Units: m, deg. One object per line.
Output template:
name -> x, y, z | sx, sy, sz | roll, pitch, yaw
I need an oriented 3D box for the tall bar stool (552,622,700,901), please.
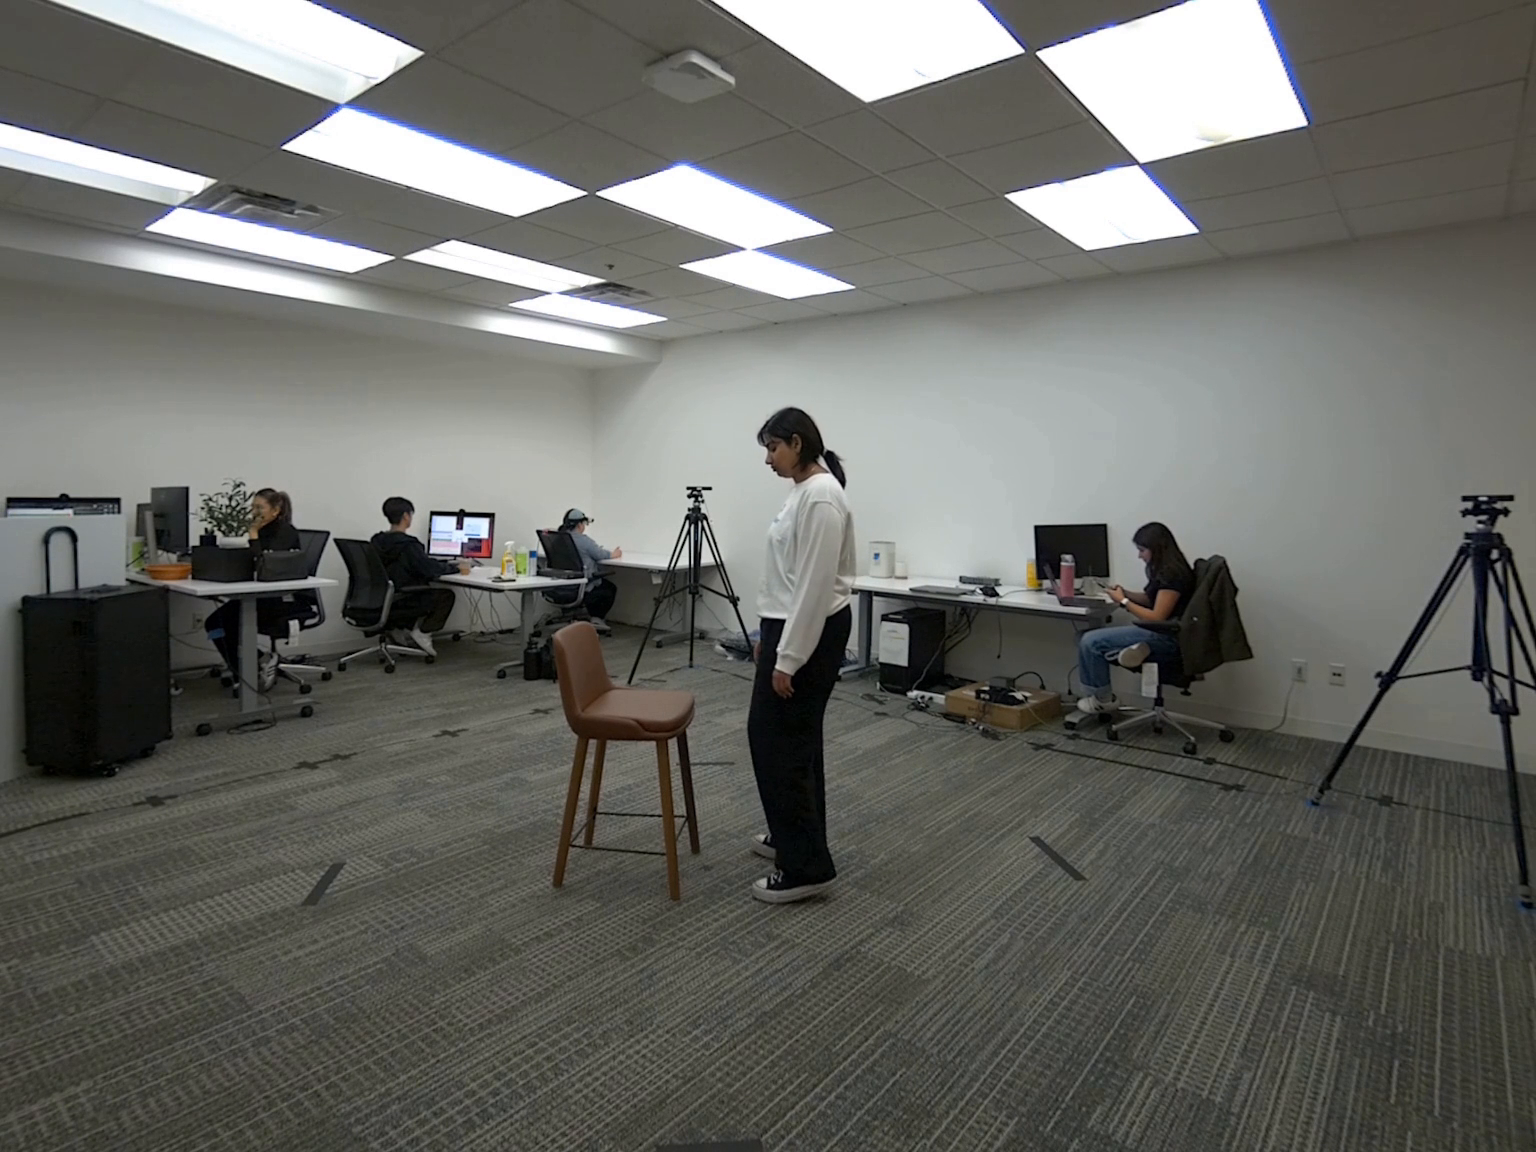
tall bar stool -> -0.505, 0.632, 3.073 | 0.472, 0.888, 0.453 | 0, 3, 8
